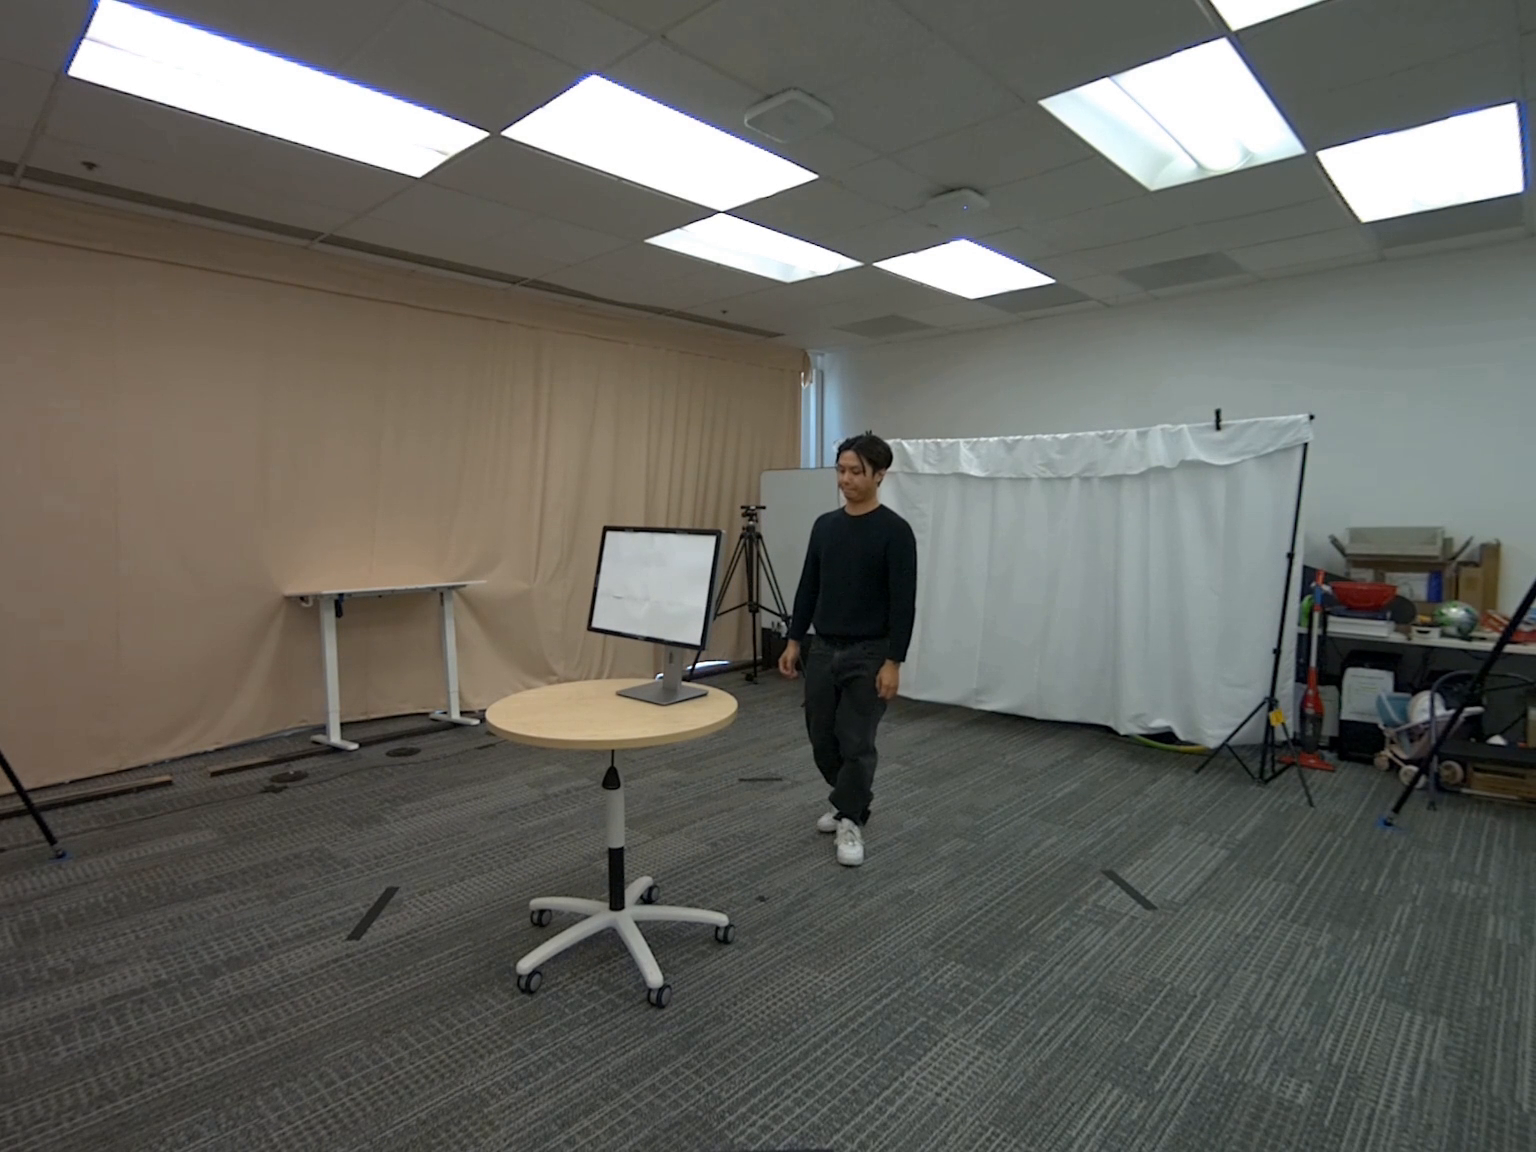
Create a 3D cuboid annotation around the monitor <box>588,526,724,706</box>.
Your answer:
[{"bbox_3d":[-0.339,0.121,2.709,0.557,0.521,0.181,3,5,40],"label":"monitor"}]
